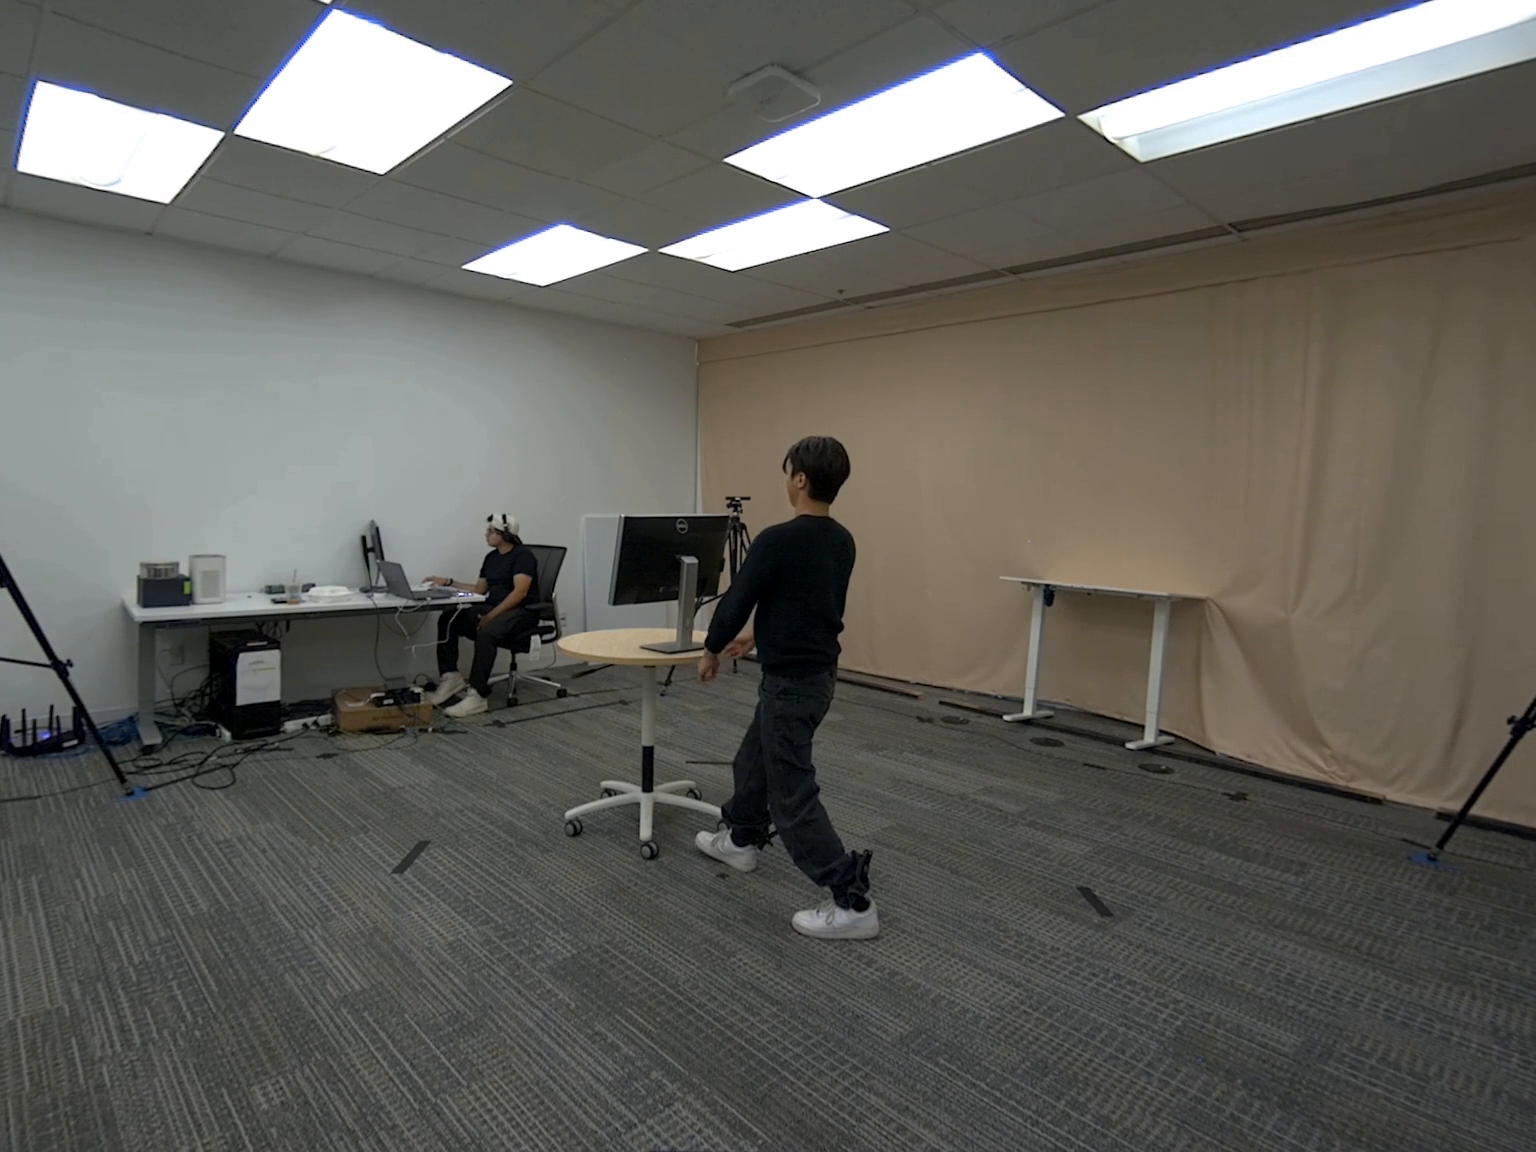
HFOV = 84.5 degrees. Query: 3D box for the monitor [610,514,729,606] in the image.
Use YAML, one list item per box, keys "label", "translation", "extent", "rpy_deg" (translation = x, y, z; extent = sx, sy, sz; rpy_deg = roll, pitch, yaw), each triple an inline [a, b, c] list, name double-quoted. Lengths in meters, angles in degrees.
- label: "monitor"
  translation: [-0.372, 0.025, 3.393]
  extent: [0.192, 0.521, 0.527]
  rpy_deg: [3, 4, 43]
